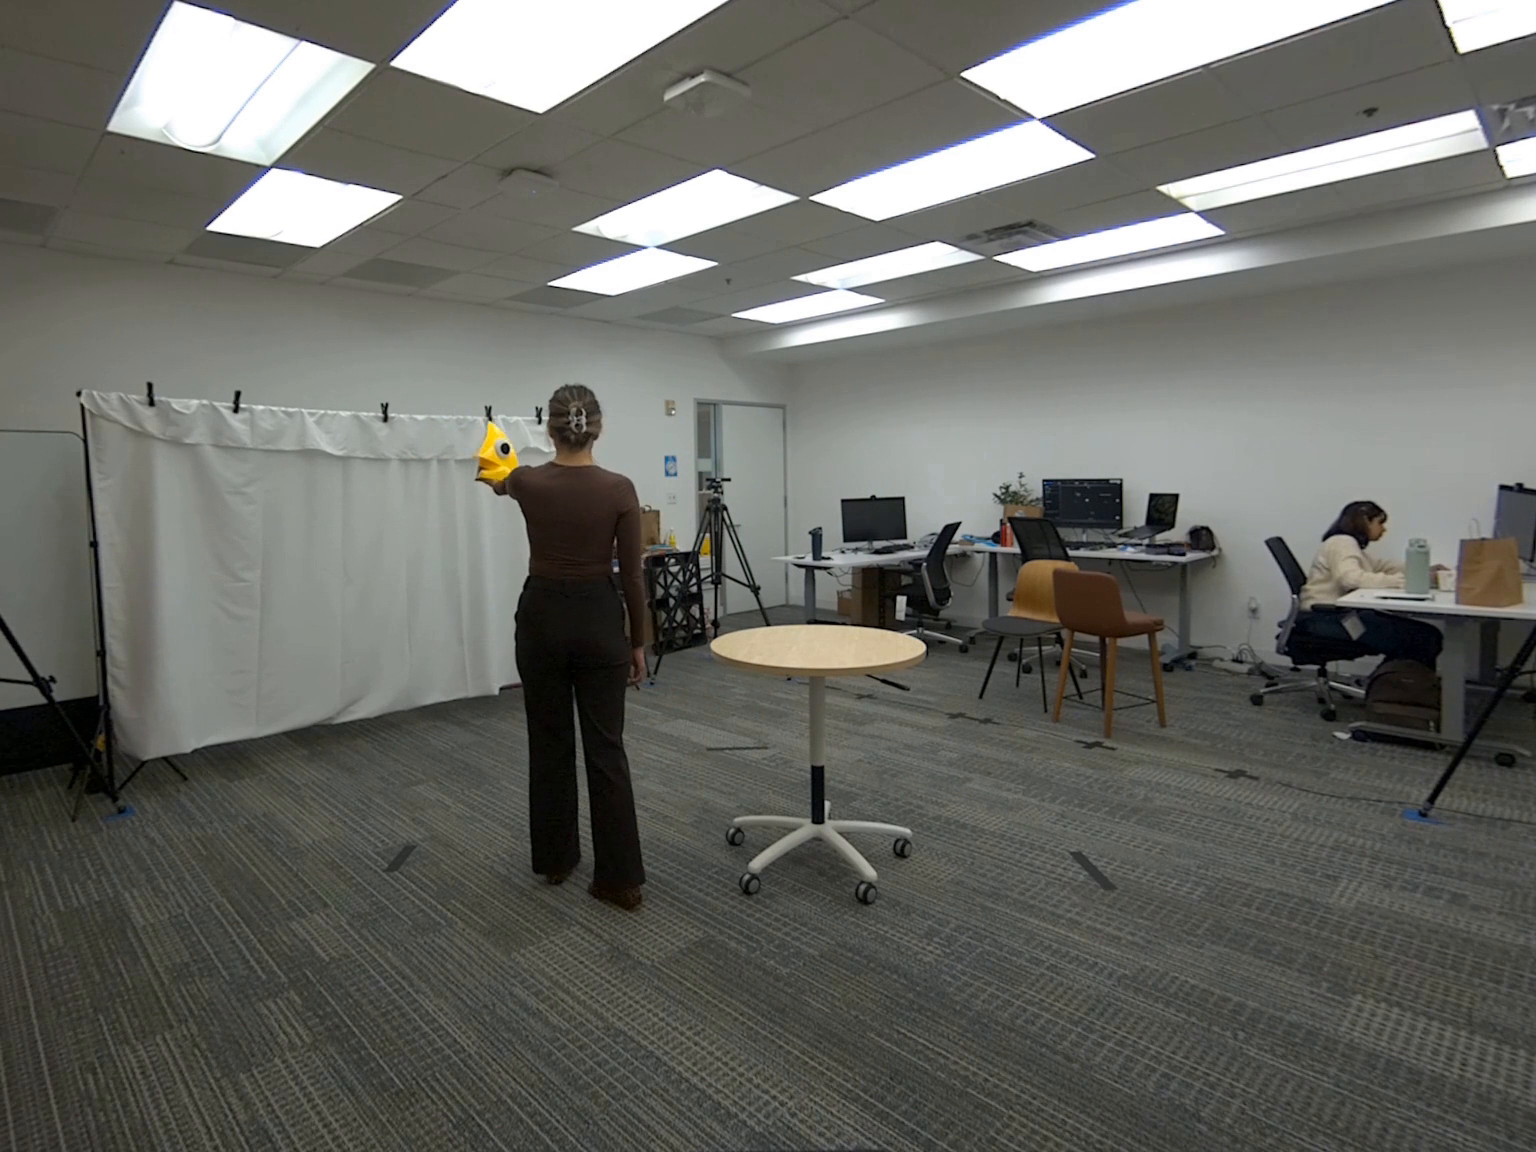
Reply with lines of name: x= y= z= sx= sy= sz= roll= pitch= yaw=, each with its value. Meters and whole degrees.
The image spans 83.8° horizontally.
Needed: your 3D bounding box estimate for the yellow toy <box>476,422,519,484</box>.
yellow toy: x=-1.077 y=-0.496 z=3.434 sx=0.188 sy=0.231 sz=0.210 roll=9 pitch=0 yaw=-24
